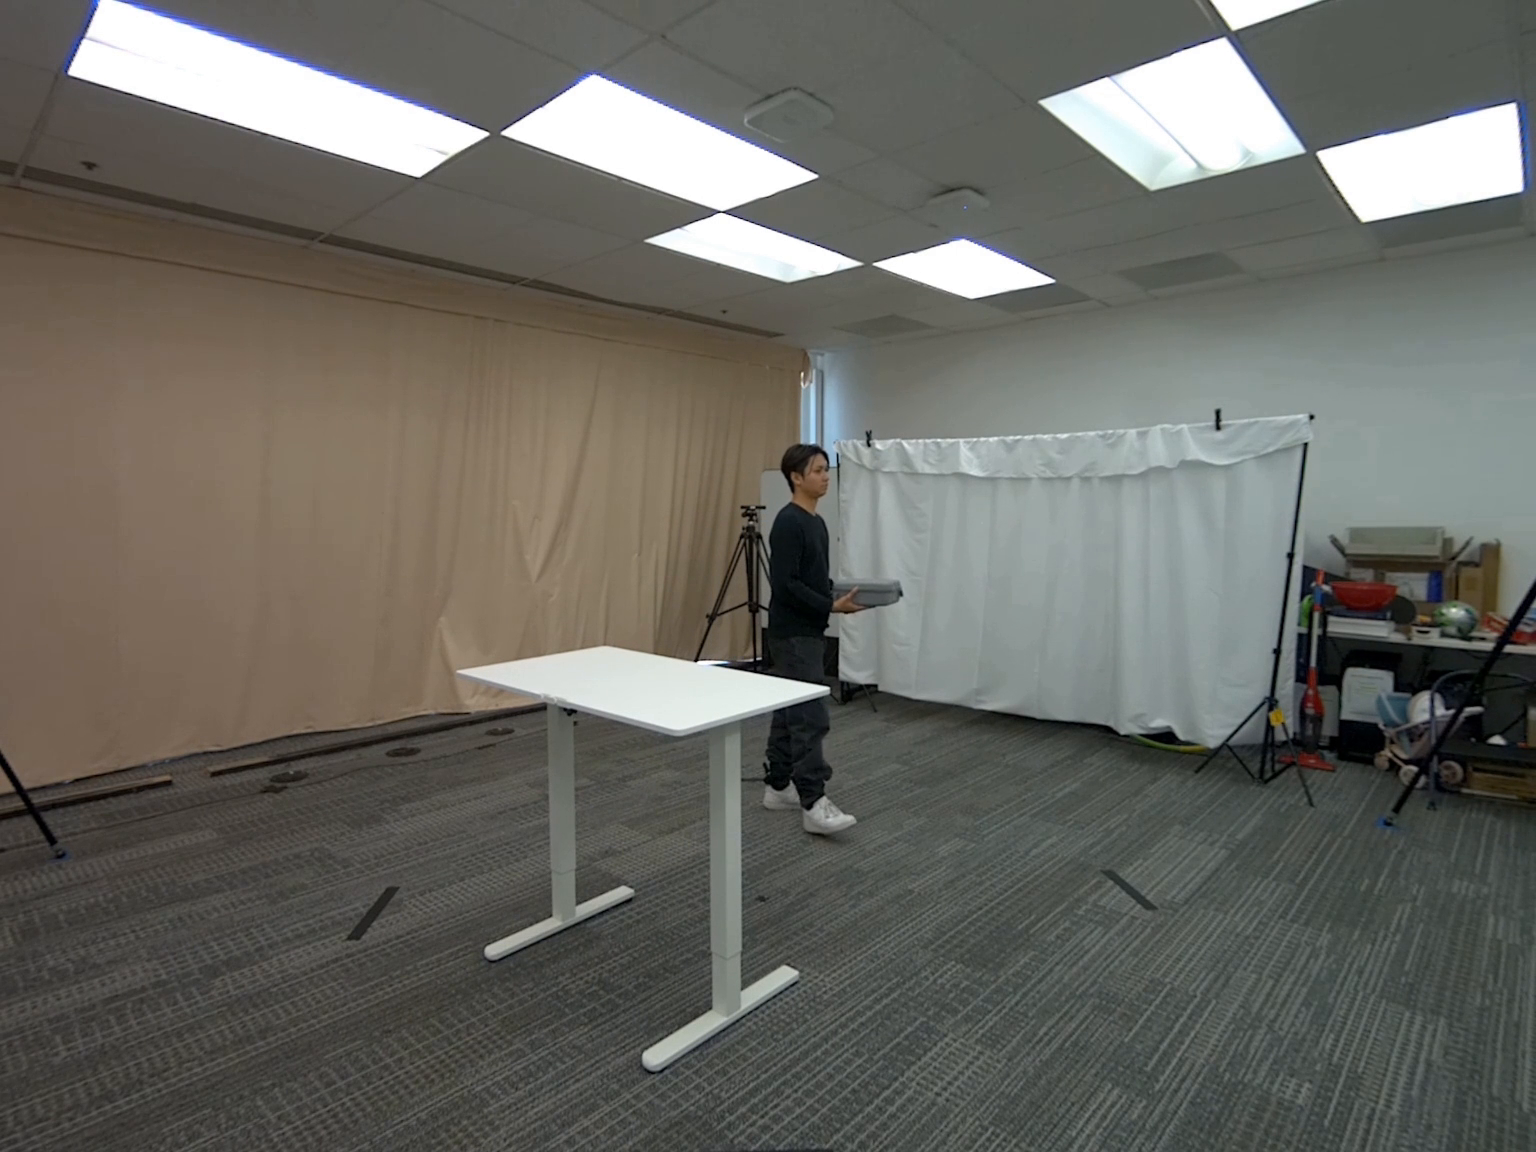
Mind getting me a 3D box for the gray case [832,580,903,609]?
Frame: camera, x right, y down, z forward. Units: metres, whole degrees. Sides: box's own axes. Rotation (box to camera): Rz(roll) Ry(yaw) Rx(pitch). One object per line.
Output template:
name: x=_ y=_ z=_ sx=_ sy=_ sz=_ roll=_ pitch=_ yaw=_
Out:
gray case: x=0.442 y=0.072 z=3.728 sx=0.262 sy=0.104 sz=0.257 roll=2 pitch=6 yaw=17
